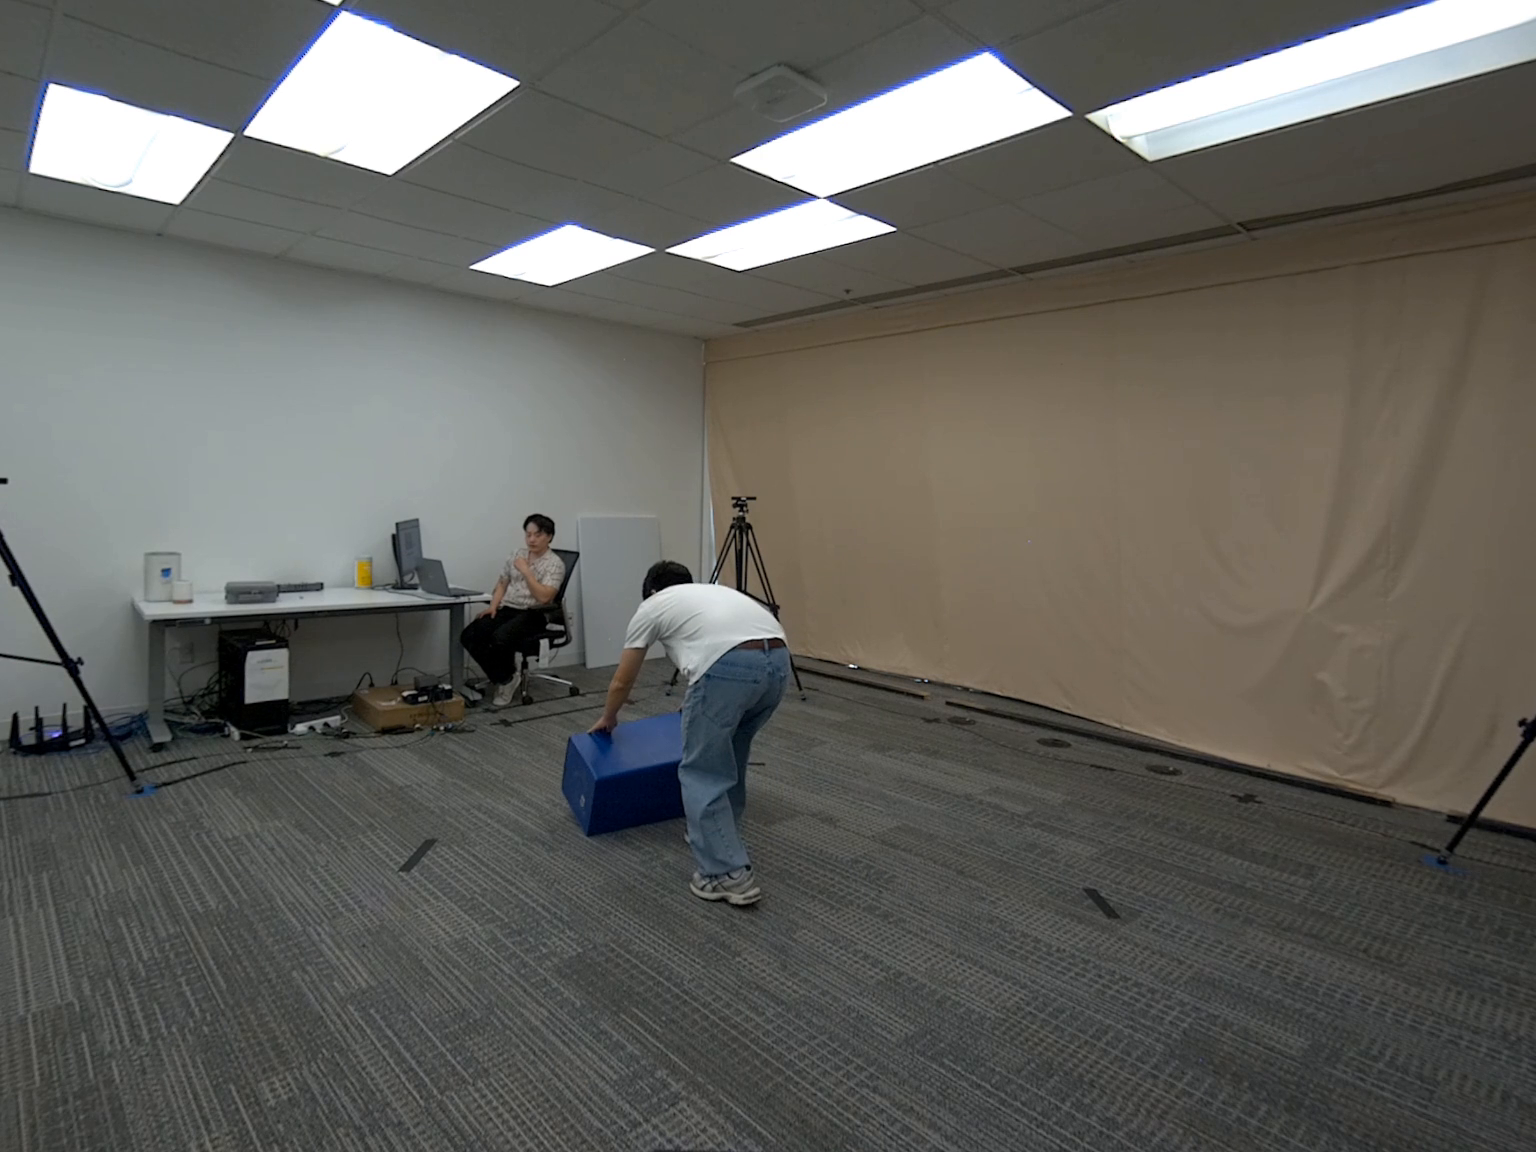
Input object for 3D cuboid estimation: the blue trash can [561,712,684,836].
[{"bbox_3d":[-0.498,0.841,3.666,0.699,0.369,0.390,-4,28,-34],"label":"blue trash can"}]
